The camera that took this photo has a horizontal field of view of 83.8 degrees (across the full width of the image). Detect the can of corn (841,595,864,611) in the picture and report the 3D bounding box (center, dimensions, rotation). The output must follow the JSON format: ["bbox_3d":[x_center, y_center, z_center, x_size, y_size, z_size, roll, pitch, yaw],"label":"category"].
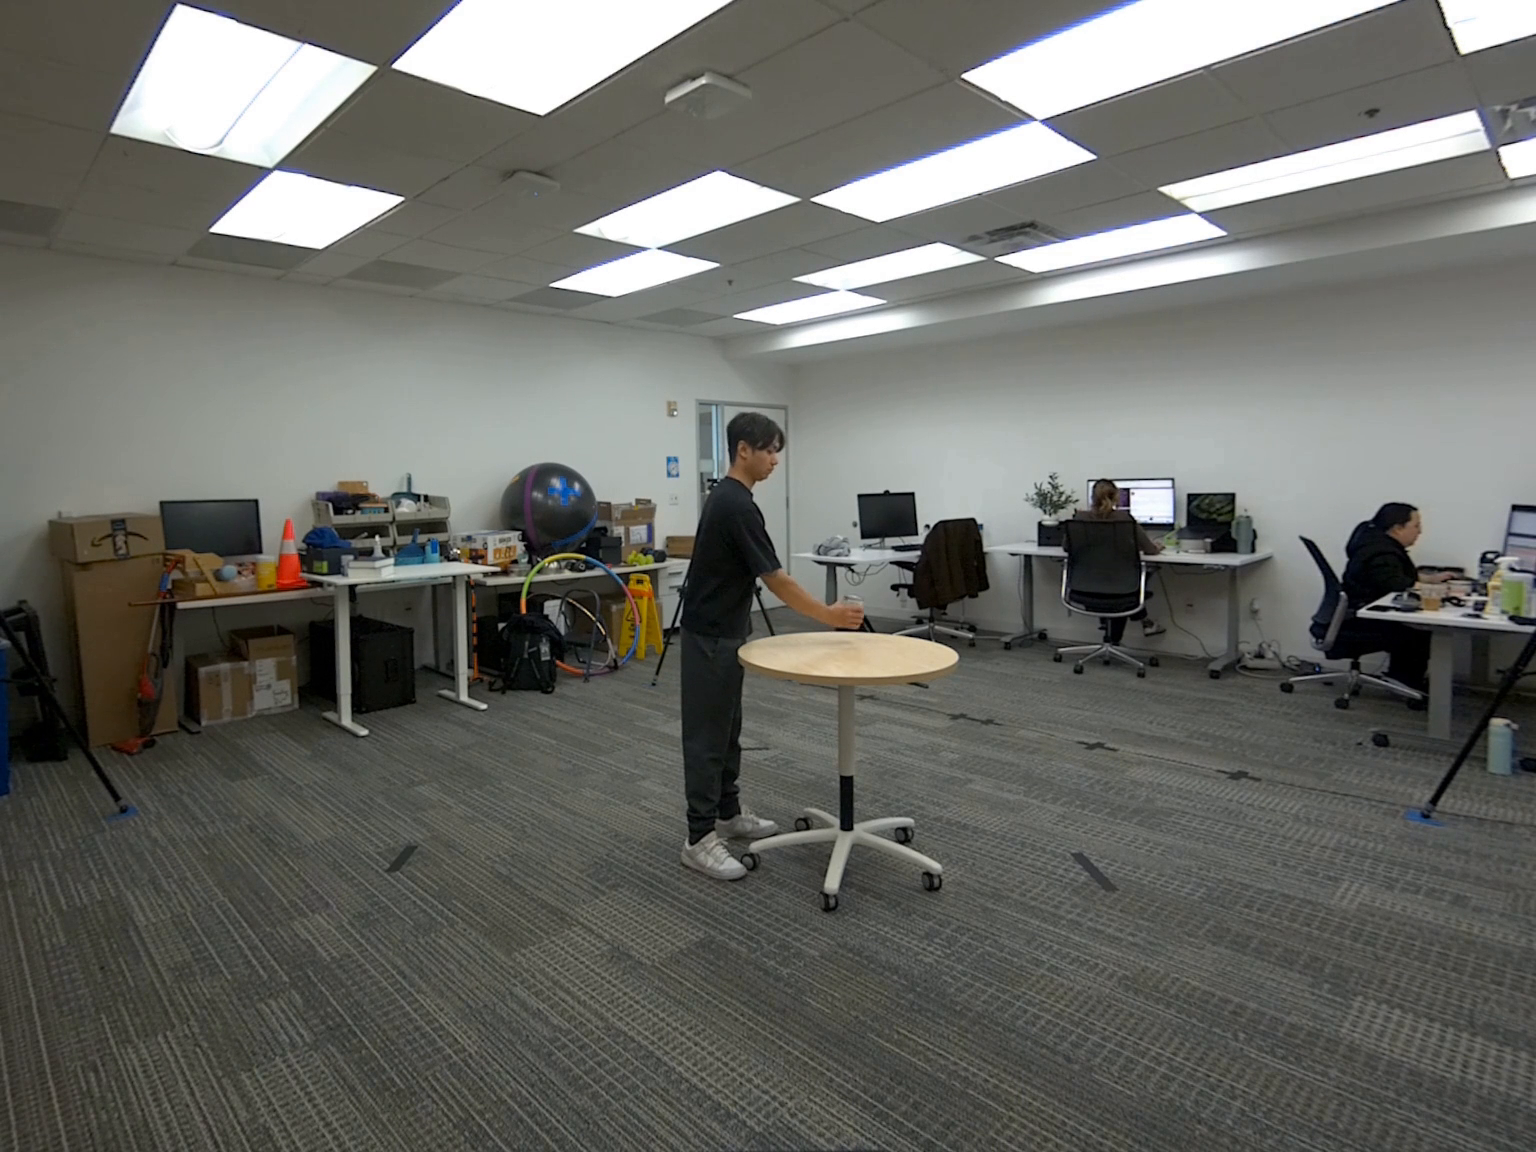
[{"bbox_3d":[0.304,0.144,3.158,0.074,0.110,0.075,-1,7,-2],"label":"can of corn"}]
